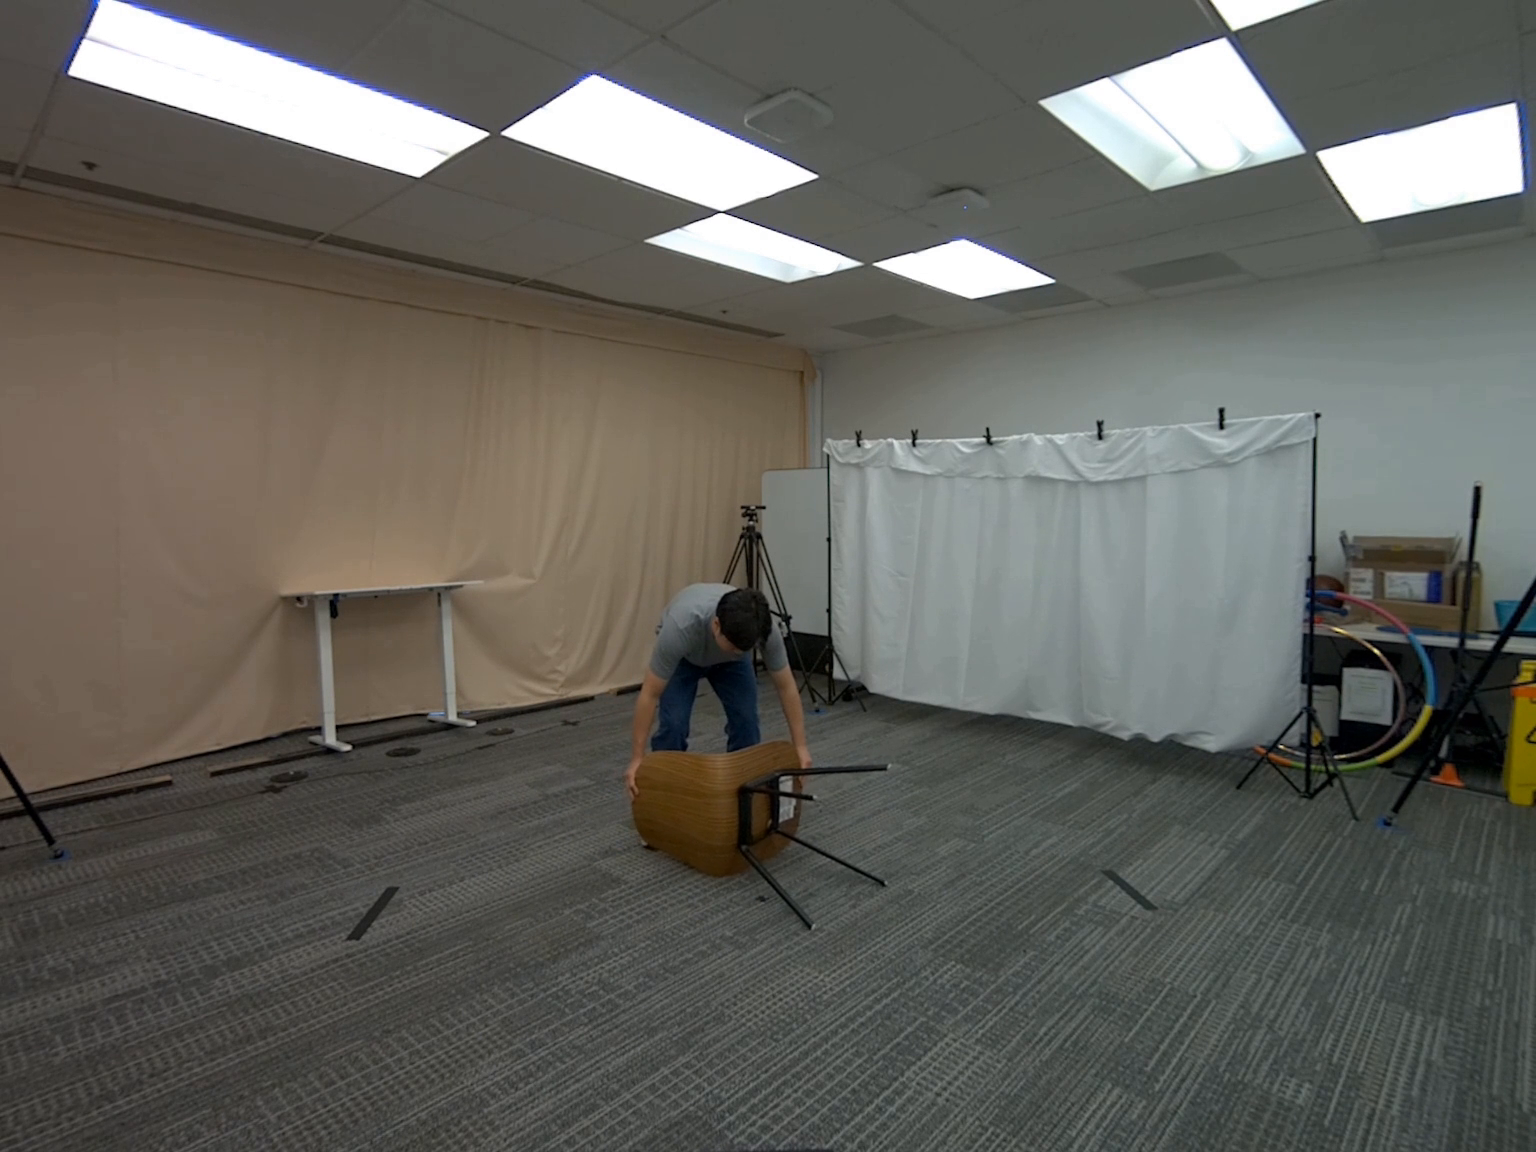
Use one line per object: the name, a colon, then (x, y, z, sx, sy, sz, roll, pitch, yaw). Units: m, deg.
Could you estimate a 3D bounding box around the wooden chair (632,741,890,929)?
wooden chair: (-0.022, 0.892, 3.201, 0.906, 0.477, 0.508, 4, 6, 37)
